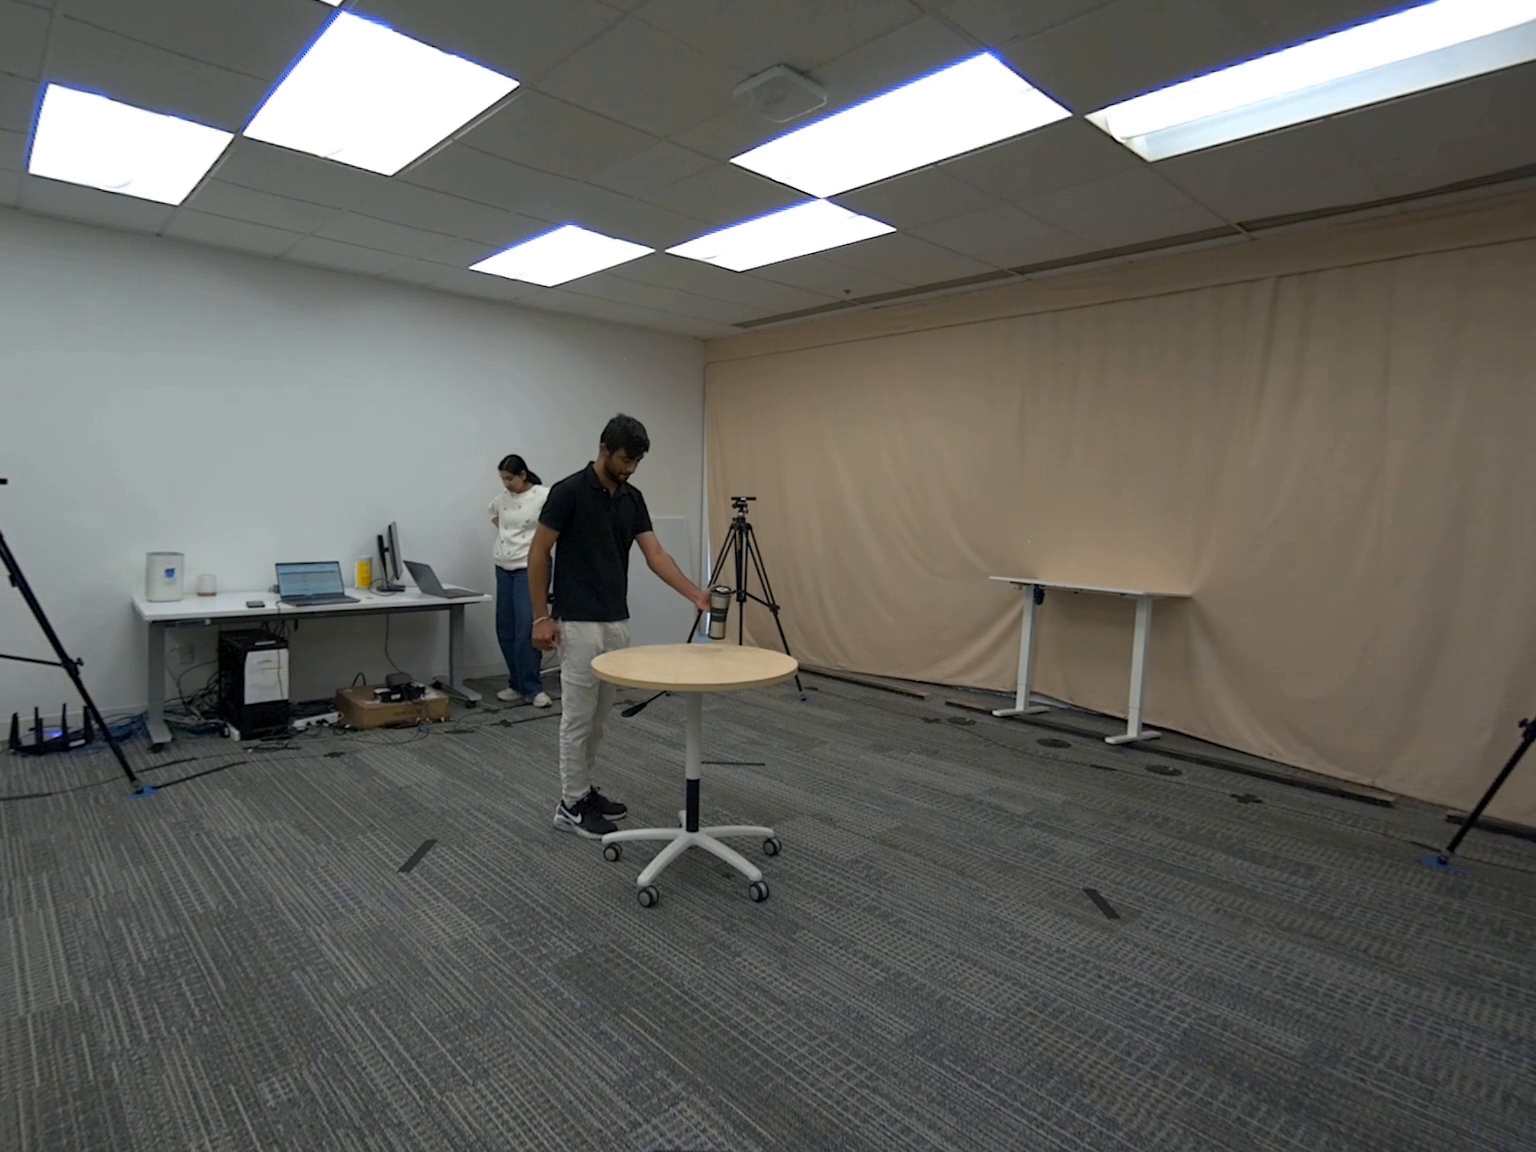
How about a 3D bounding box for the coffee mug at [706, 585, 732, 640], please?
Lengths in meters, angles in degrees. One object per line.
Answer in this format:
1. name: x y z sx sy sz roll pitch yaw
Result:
1. coffee mug: -0.202 0.145 3.370 0.090 0.201 0.120 9 16 25
